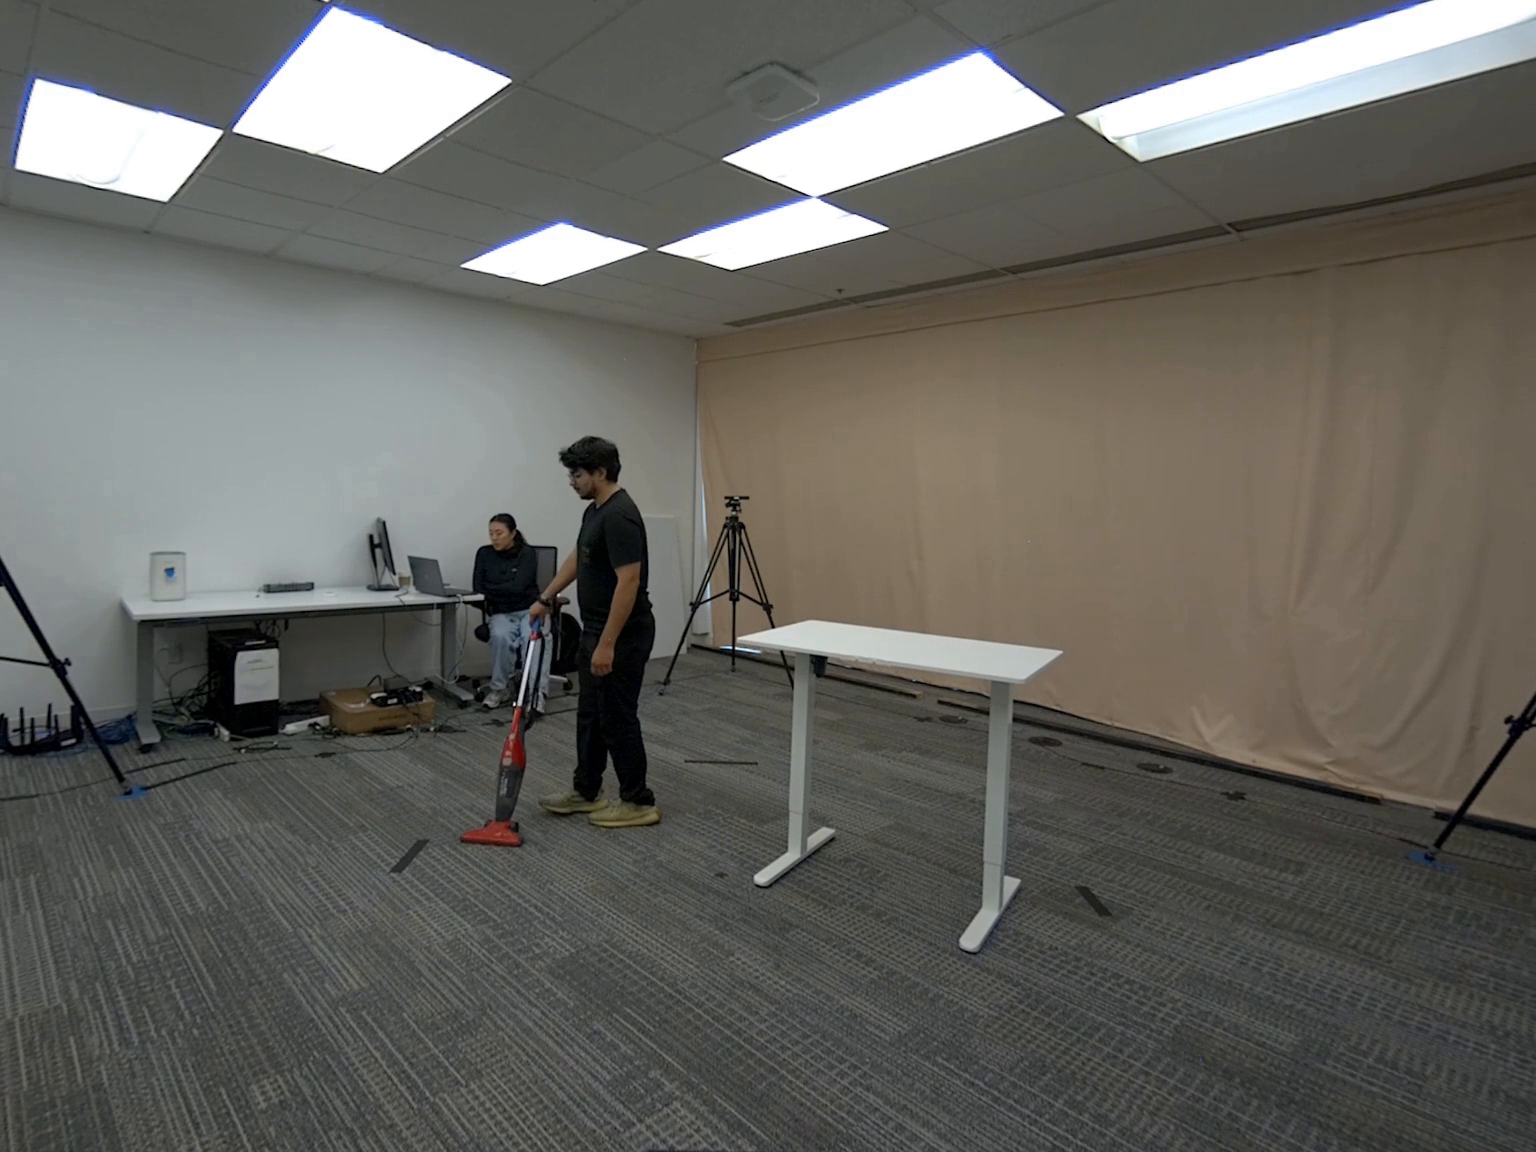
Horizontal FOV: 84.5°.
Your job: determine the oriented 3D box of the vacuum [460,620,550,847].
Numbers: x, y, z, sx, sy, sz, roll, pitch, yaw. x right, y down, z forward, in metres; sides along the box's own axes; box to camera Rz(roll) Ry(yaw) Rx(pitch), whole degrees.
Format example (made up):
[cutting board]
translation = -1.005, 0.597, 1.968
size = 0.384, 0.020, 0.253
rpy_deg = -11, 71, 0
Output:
[vacuum]
translation = -1.056, 0.574, 3.621
size = 0.253, 1.066, 0.141
rpy_deg = 3, -27, 4
